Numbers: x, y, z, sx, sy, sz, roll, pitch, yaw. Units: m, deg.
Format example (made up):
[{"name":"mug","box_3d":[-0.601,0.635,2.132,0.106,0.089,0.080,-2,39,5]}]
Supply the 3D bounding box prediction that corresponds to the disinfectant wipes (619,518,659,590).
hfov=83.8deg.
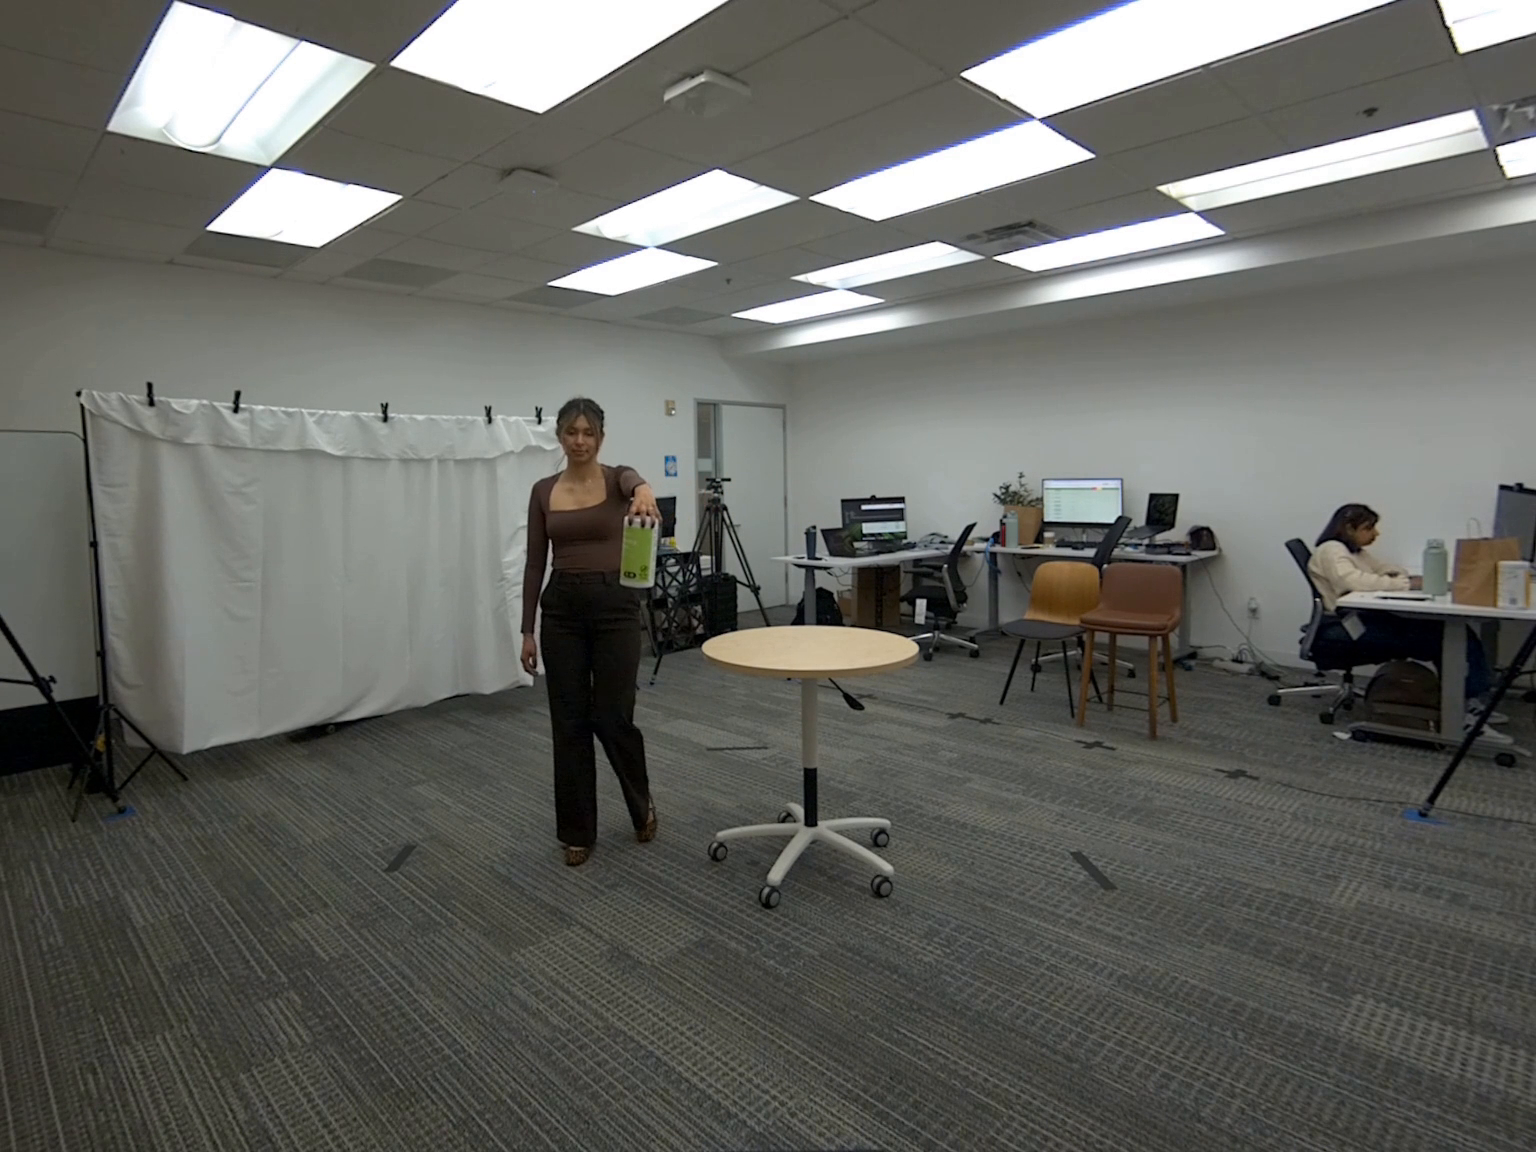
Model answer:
[{"name":"disinfectant wipes","box_3d":[-0.401,-0.076,2.675,0.117,0.216,0.119,5,8,-3]}]
